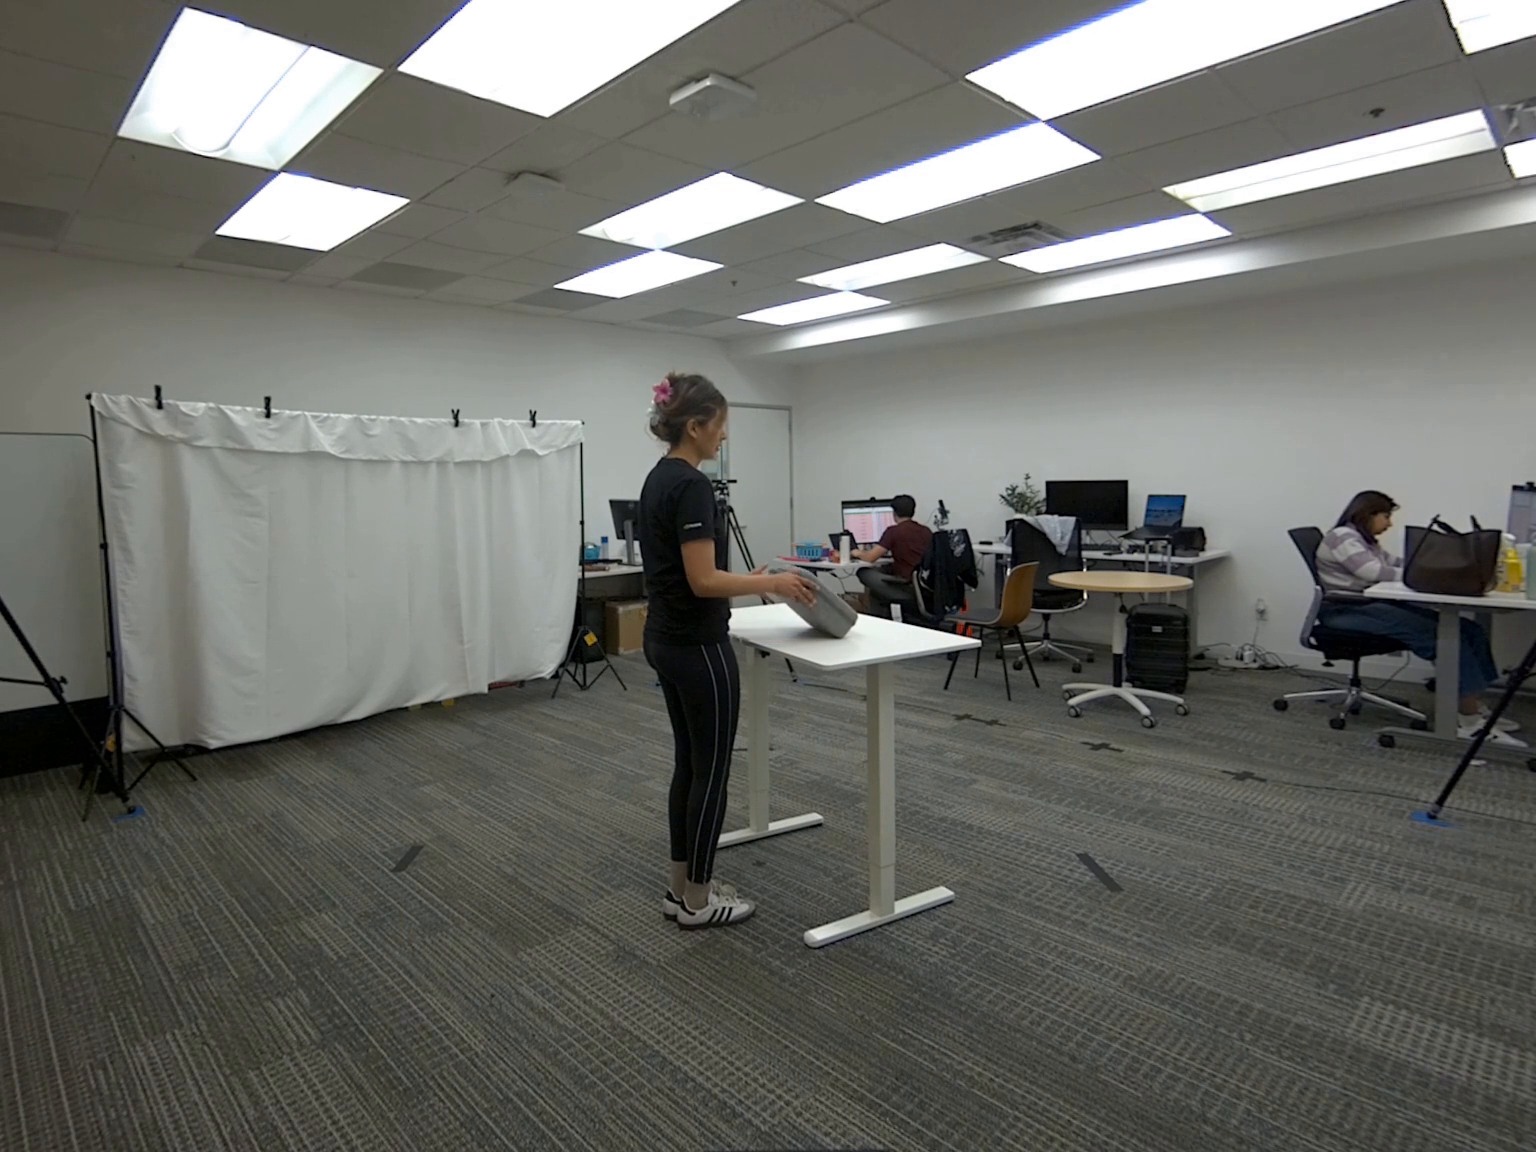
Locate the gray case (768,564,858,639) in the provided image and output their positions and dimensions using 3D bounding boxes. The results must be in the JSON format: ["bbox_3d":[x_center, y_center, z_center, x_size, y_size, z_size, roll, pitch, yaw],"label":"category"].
[{"bbox_3d":[0.146,0.083,2.826,0.256,0.104,0.261,40,-7,-13],"label":"gray case"}]
